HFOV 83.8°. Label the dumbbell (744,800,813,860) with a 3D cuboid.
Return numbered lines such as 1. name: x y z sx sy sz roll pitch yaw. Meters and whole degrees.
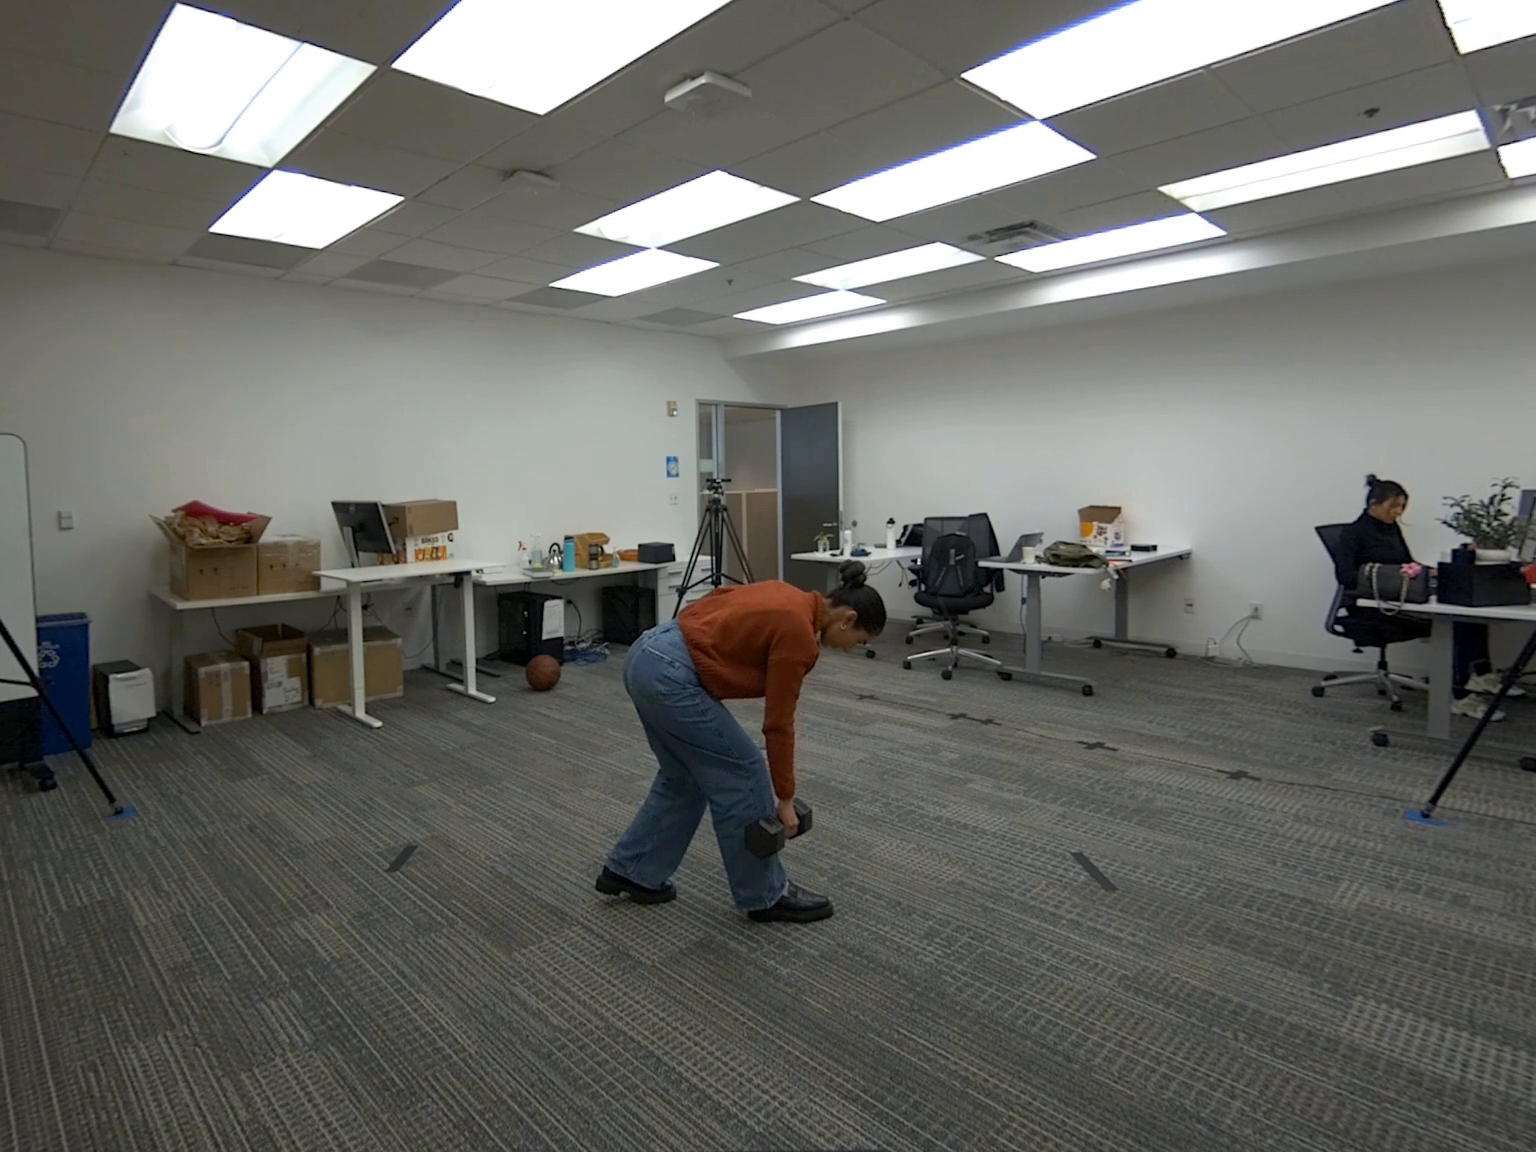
1. dumbbell: 0.038 0.786 2.651 0.111 0.123 0.286 -3 -1 28
